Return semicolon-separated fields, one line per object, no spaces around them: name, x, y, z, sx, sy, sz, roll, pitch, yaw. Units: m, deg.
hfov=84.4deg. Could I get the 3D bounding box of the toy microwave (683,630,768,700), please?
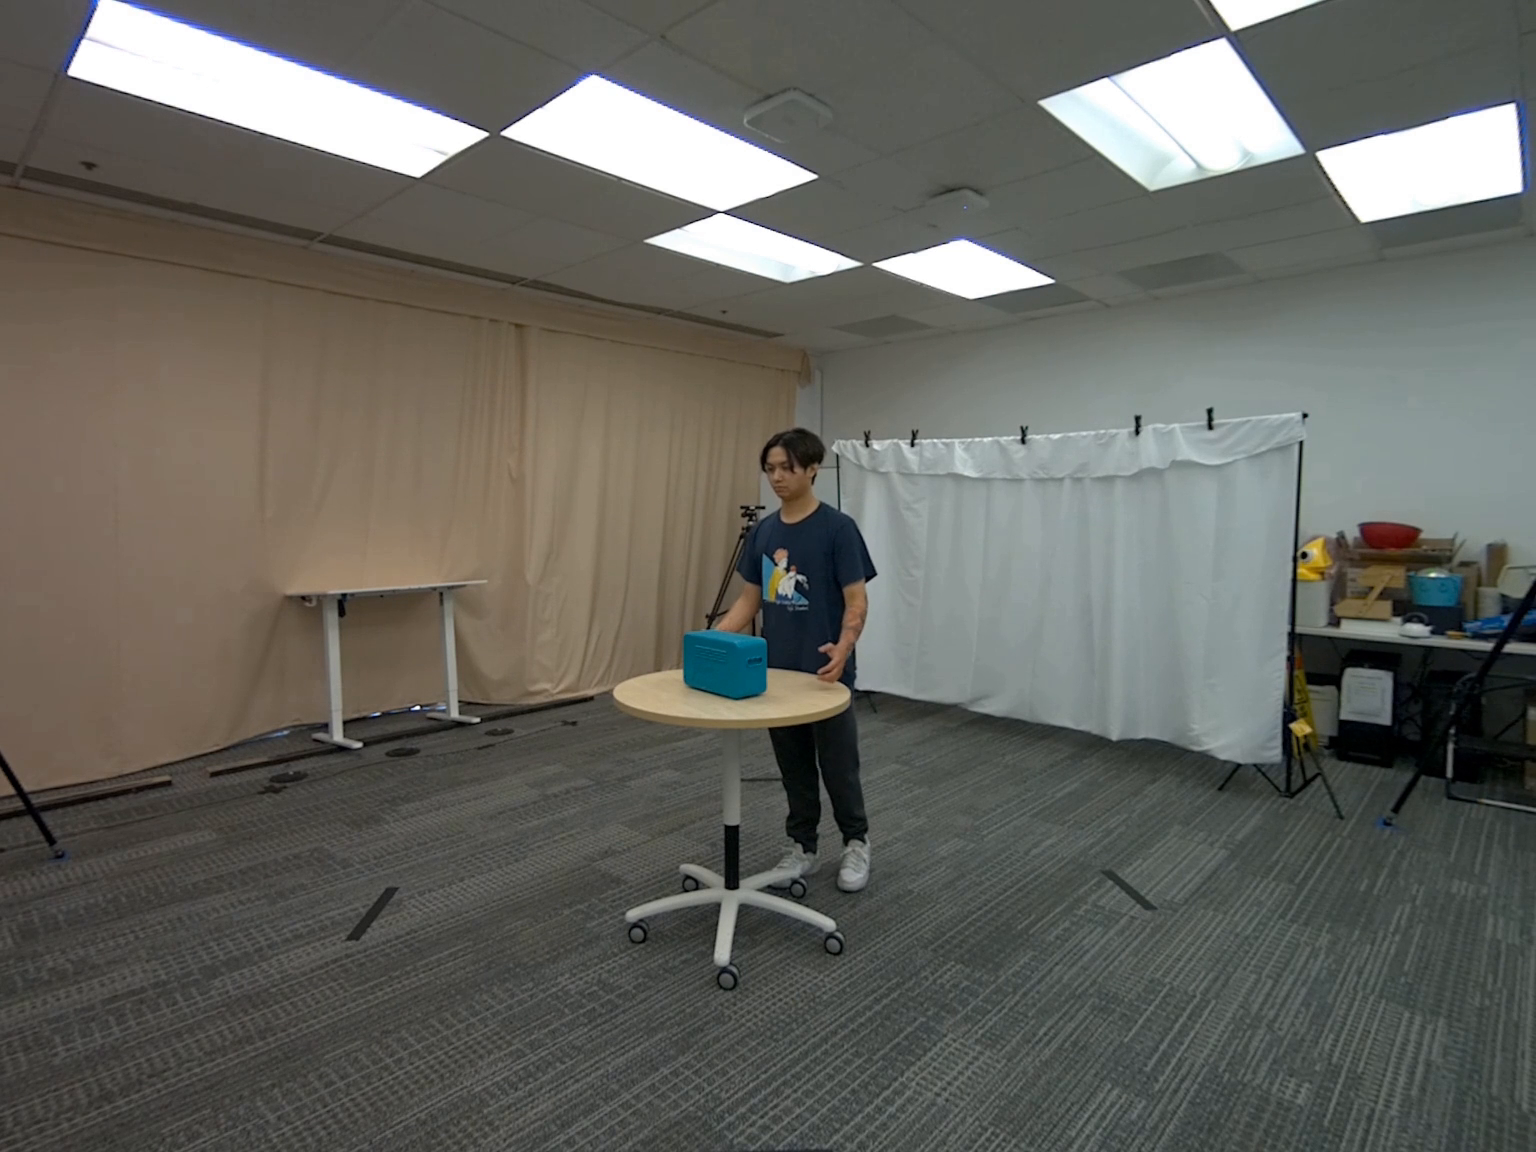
toy microwave;-0.131;0.280;2.705;0.148;0.184;0.296;-3;5;-41
